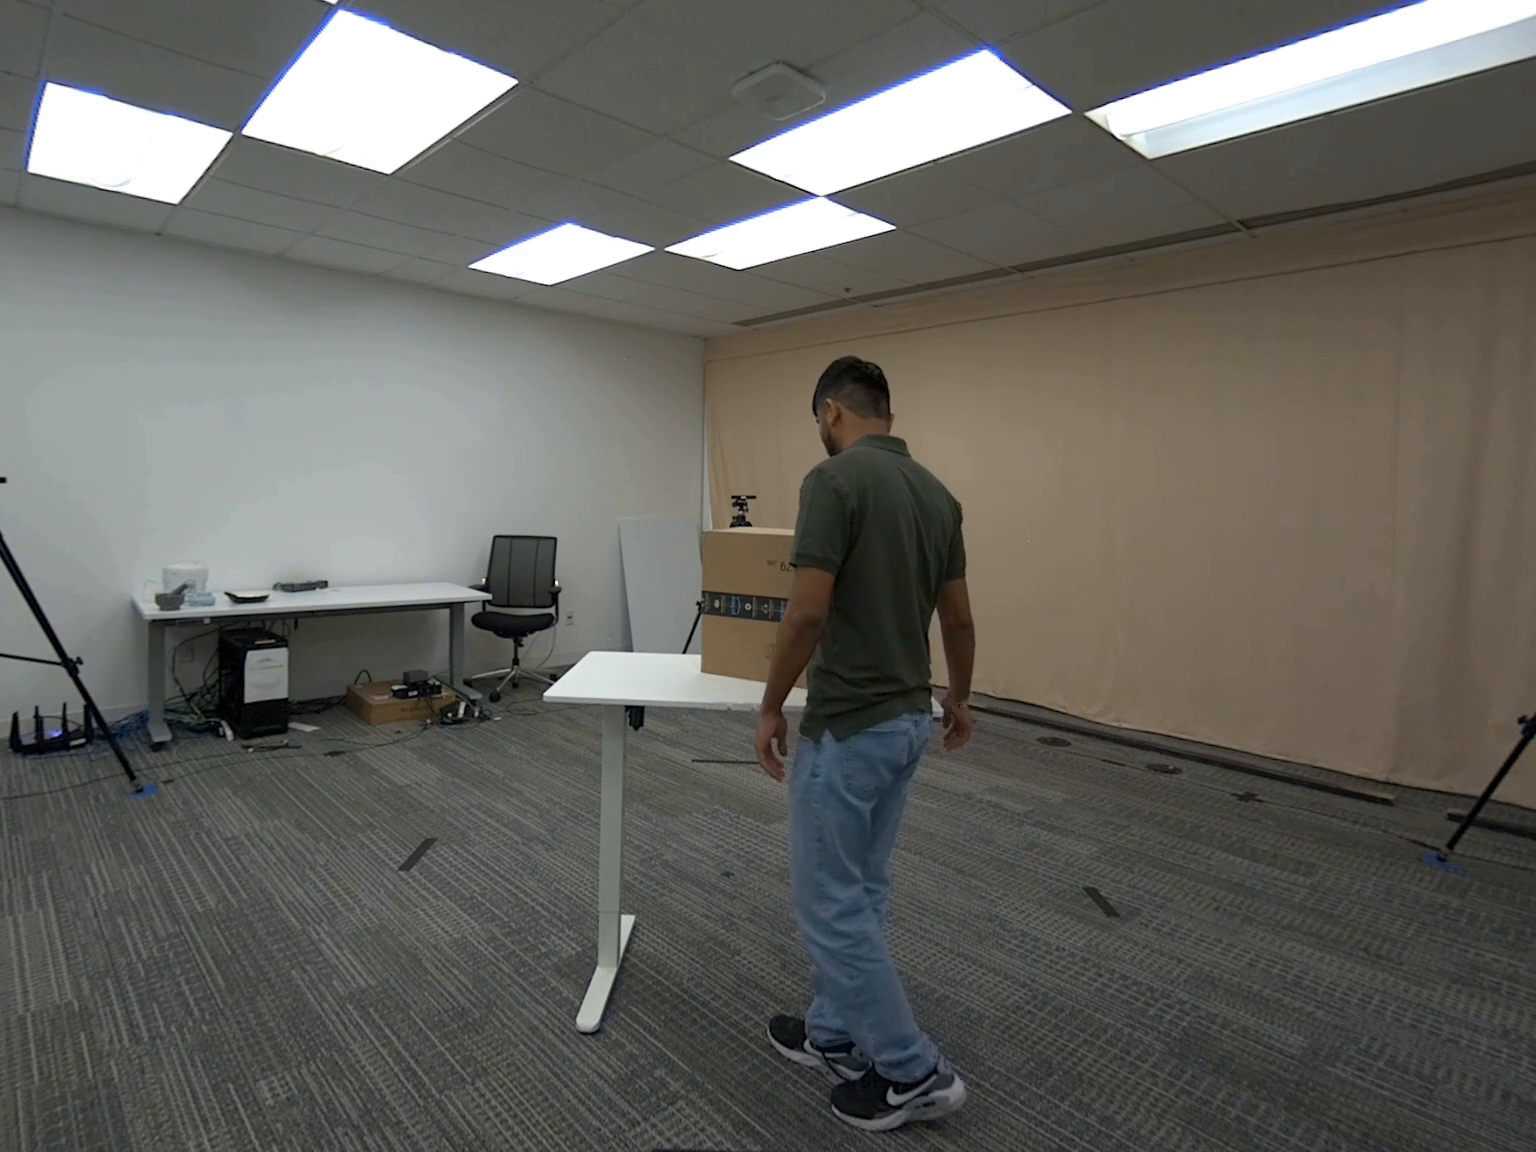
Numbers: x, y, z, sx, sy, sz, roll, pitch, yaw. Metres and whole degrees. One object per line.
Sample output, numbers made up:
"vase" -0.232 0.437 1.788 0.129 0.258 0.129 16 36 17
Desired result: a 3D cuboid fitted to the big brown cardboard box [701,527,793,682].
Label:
"big brown cardboard box" 0.097 0.089 2.375 0.602 0.416 0.229 5 6 29
